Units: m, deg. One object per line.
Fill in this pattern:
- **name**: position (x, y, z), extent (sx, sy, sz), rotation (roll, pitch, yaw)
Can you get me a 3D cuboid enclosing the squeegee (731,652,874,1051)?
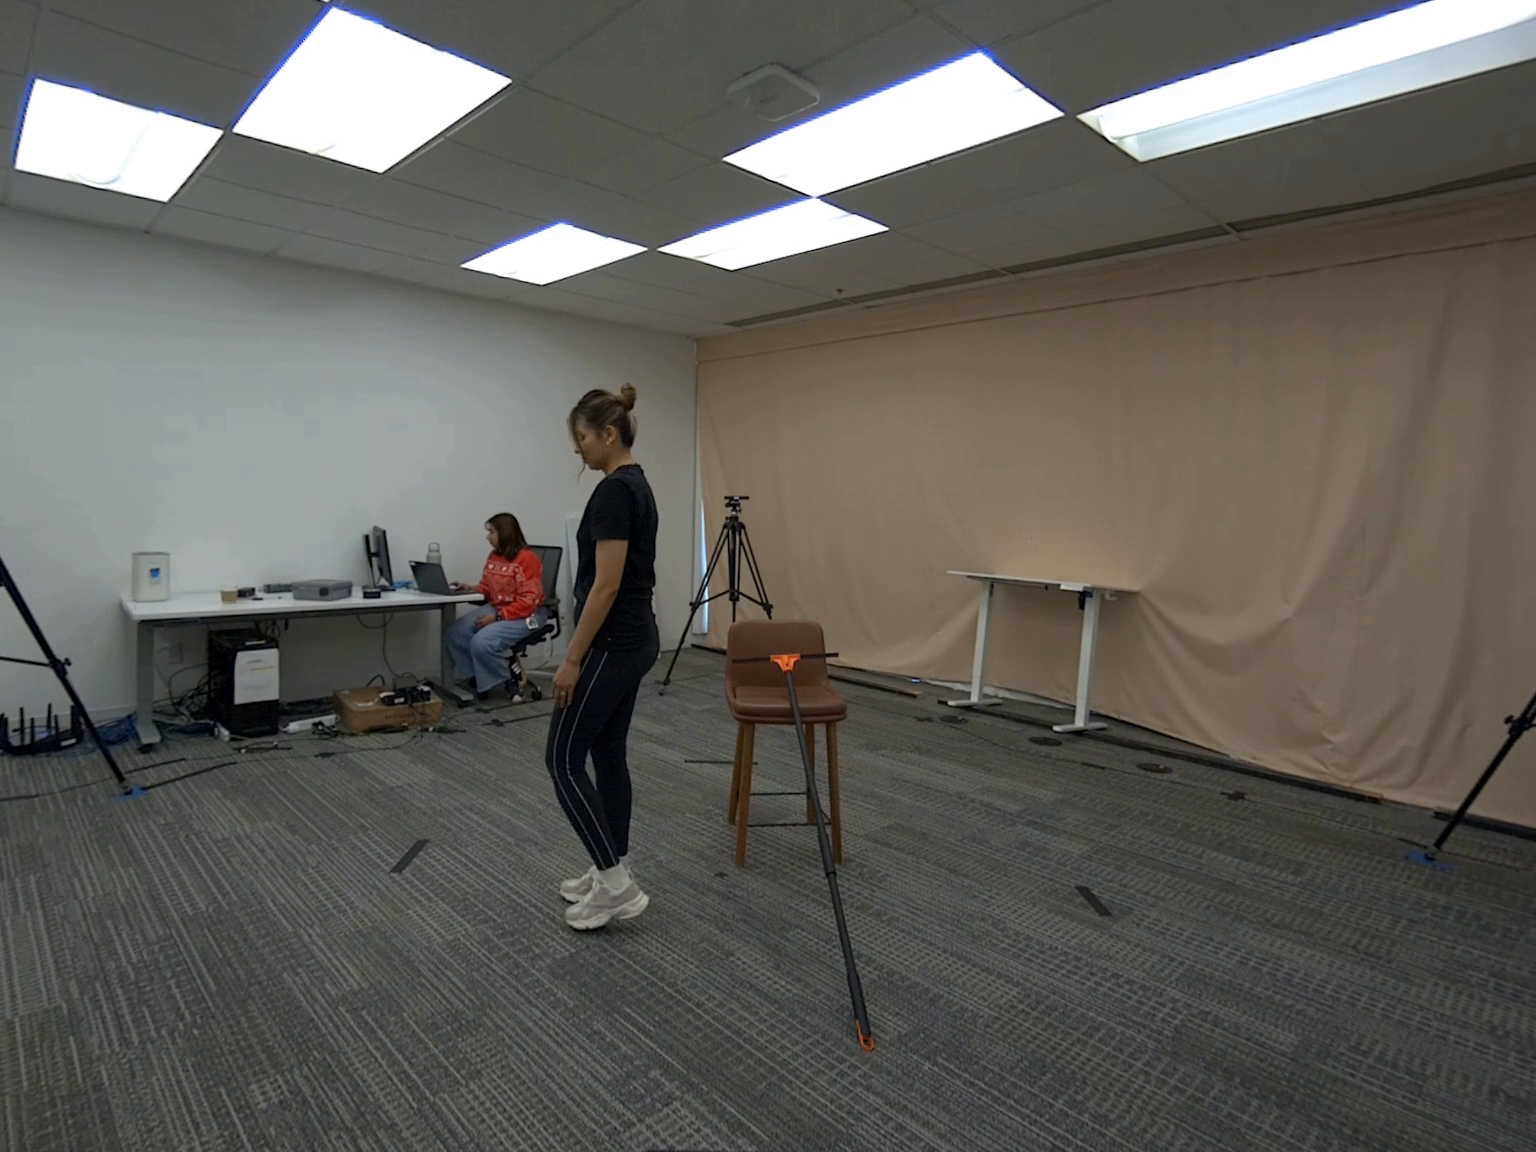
- **squeegee**: position (0.152, 0.750, 2.782), extent (0.438, 0.051, 1.576), rotation (-19, 35, 3)
